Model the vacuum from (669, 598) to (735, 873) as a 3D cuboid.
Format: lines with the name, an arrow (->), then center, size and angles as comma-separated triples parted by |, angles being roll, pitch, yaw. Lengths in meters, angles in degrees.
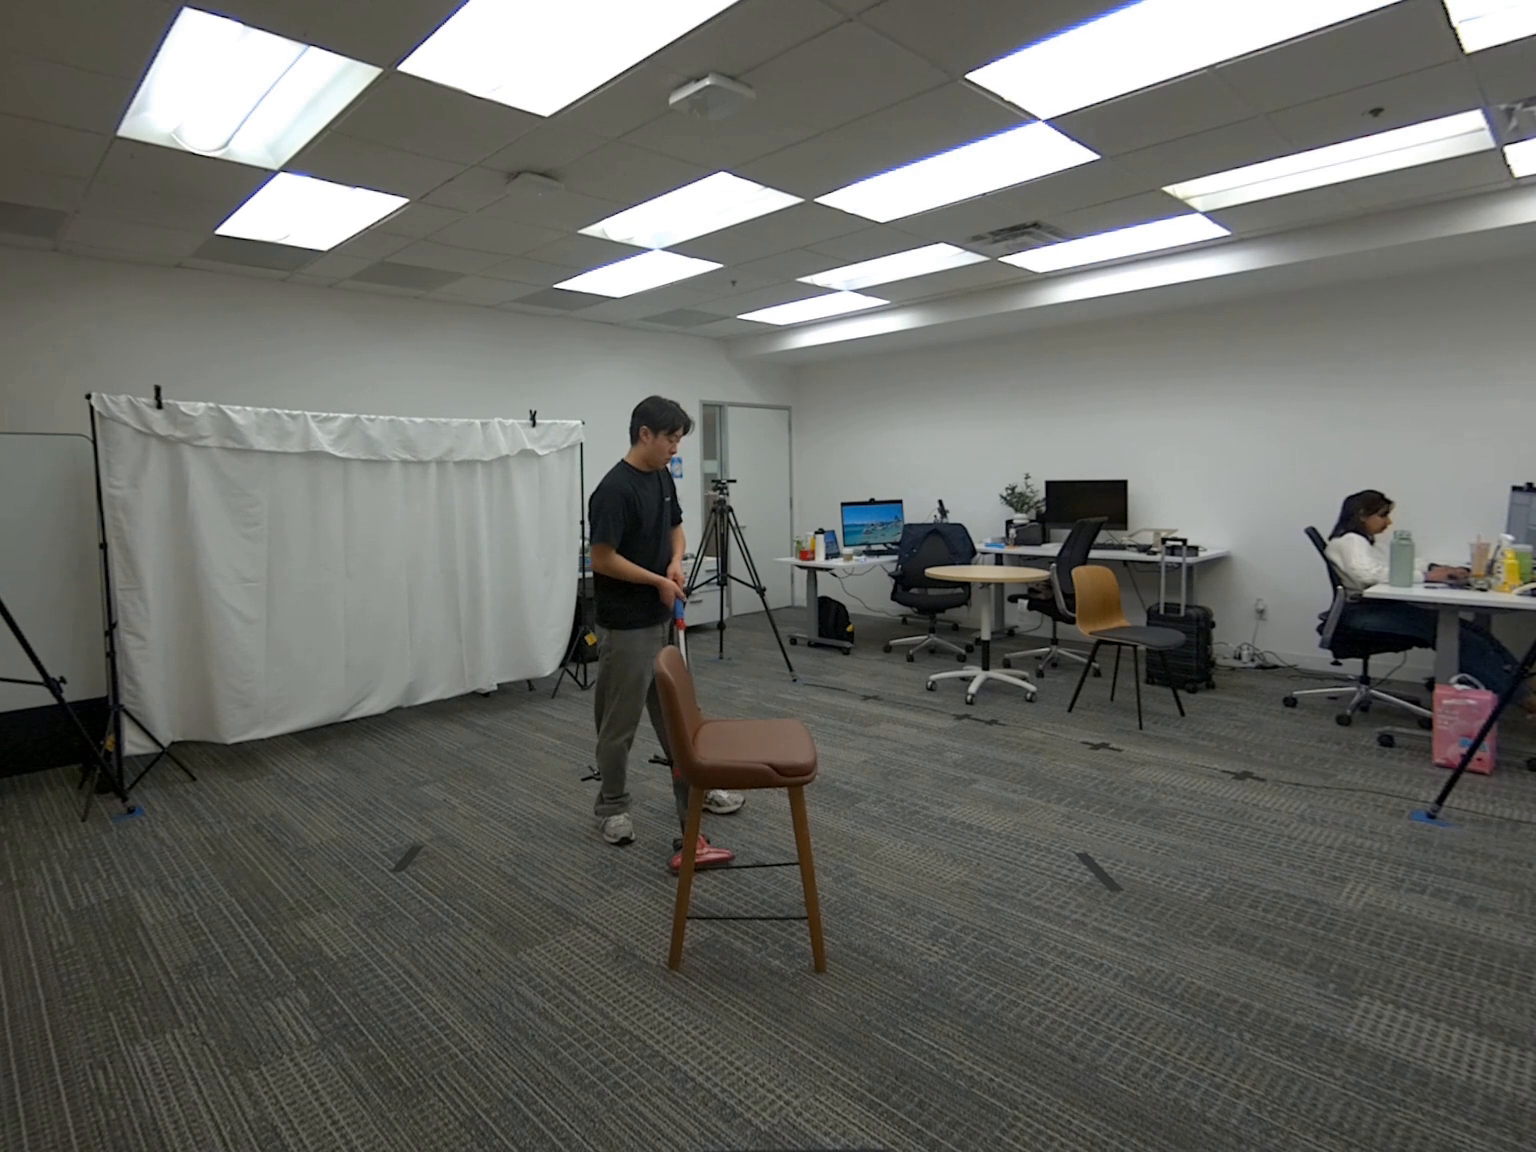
vacuum -> -0.310, 0.525, 3.227 | 0.246, 1.063, 0.145 | 0, -14, -28
